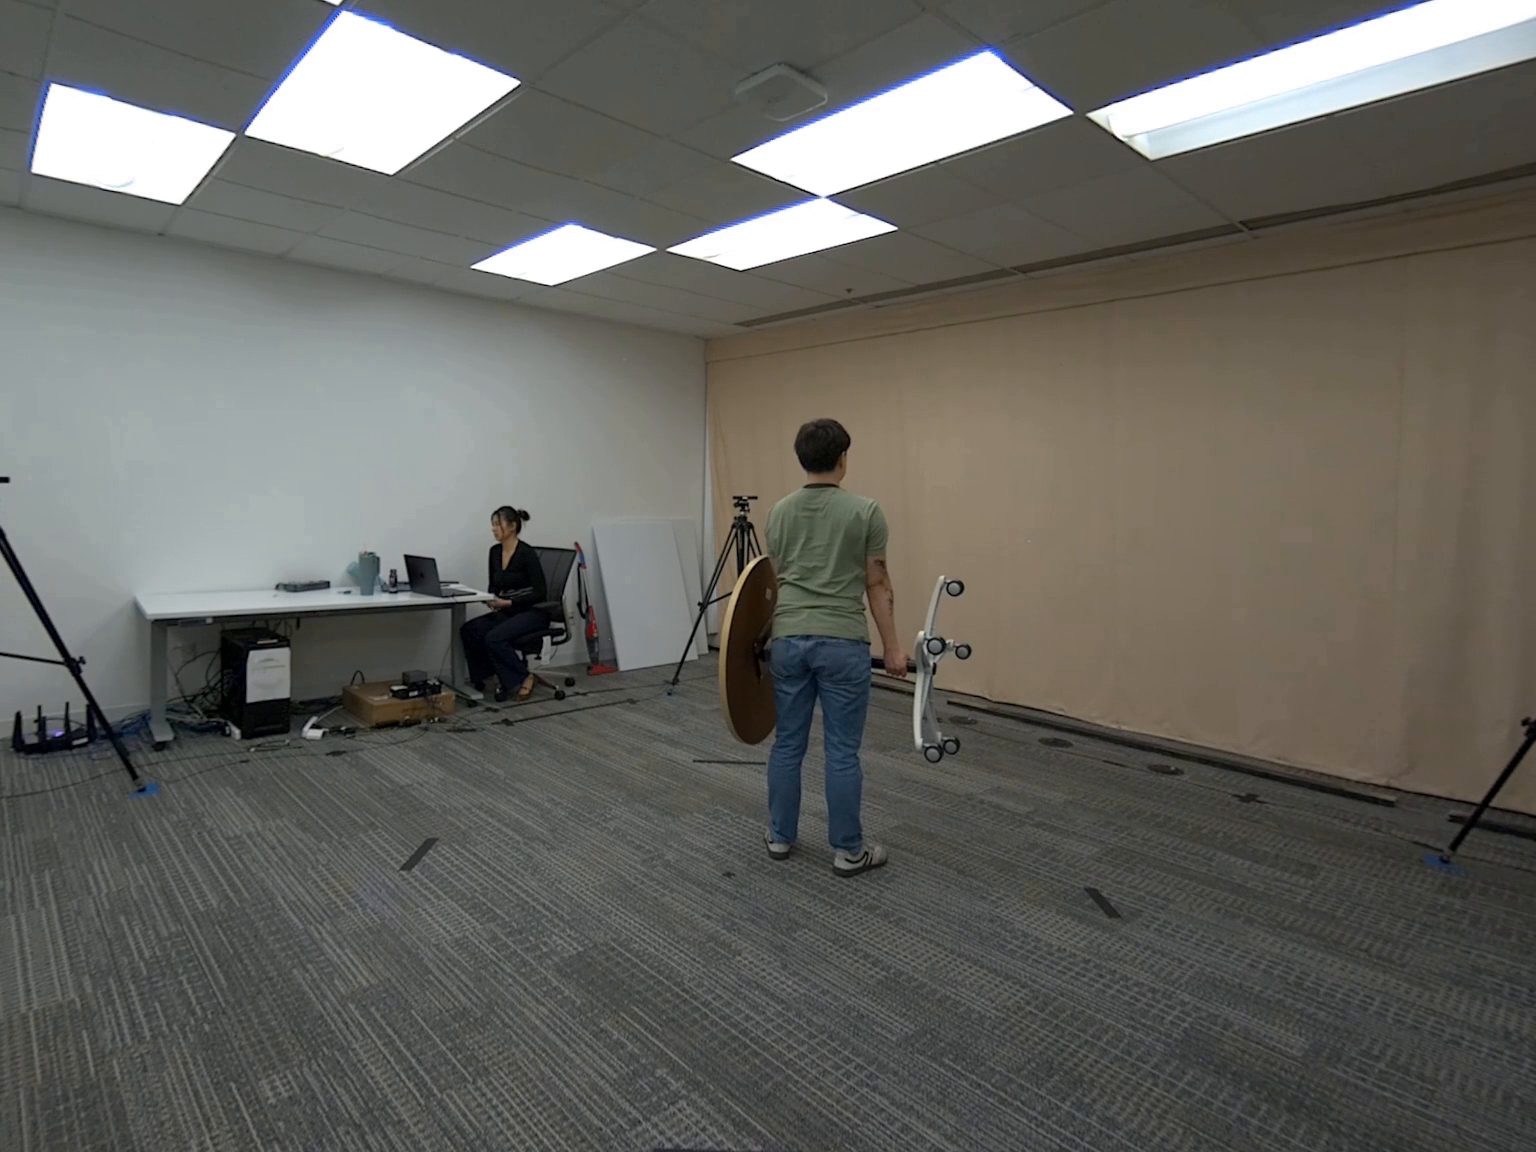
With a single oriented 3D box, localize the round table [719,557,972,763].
[{"bbox_3d":[0.330,0.334,3.286,0.808,0.762,0.752,4,5,23],"label":"round table"}]
